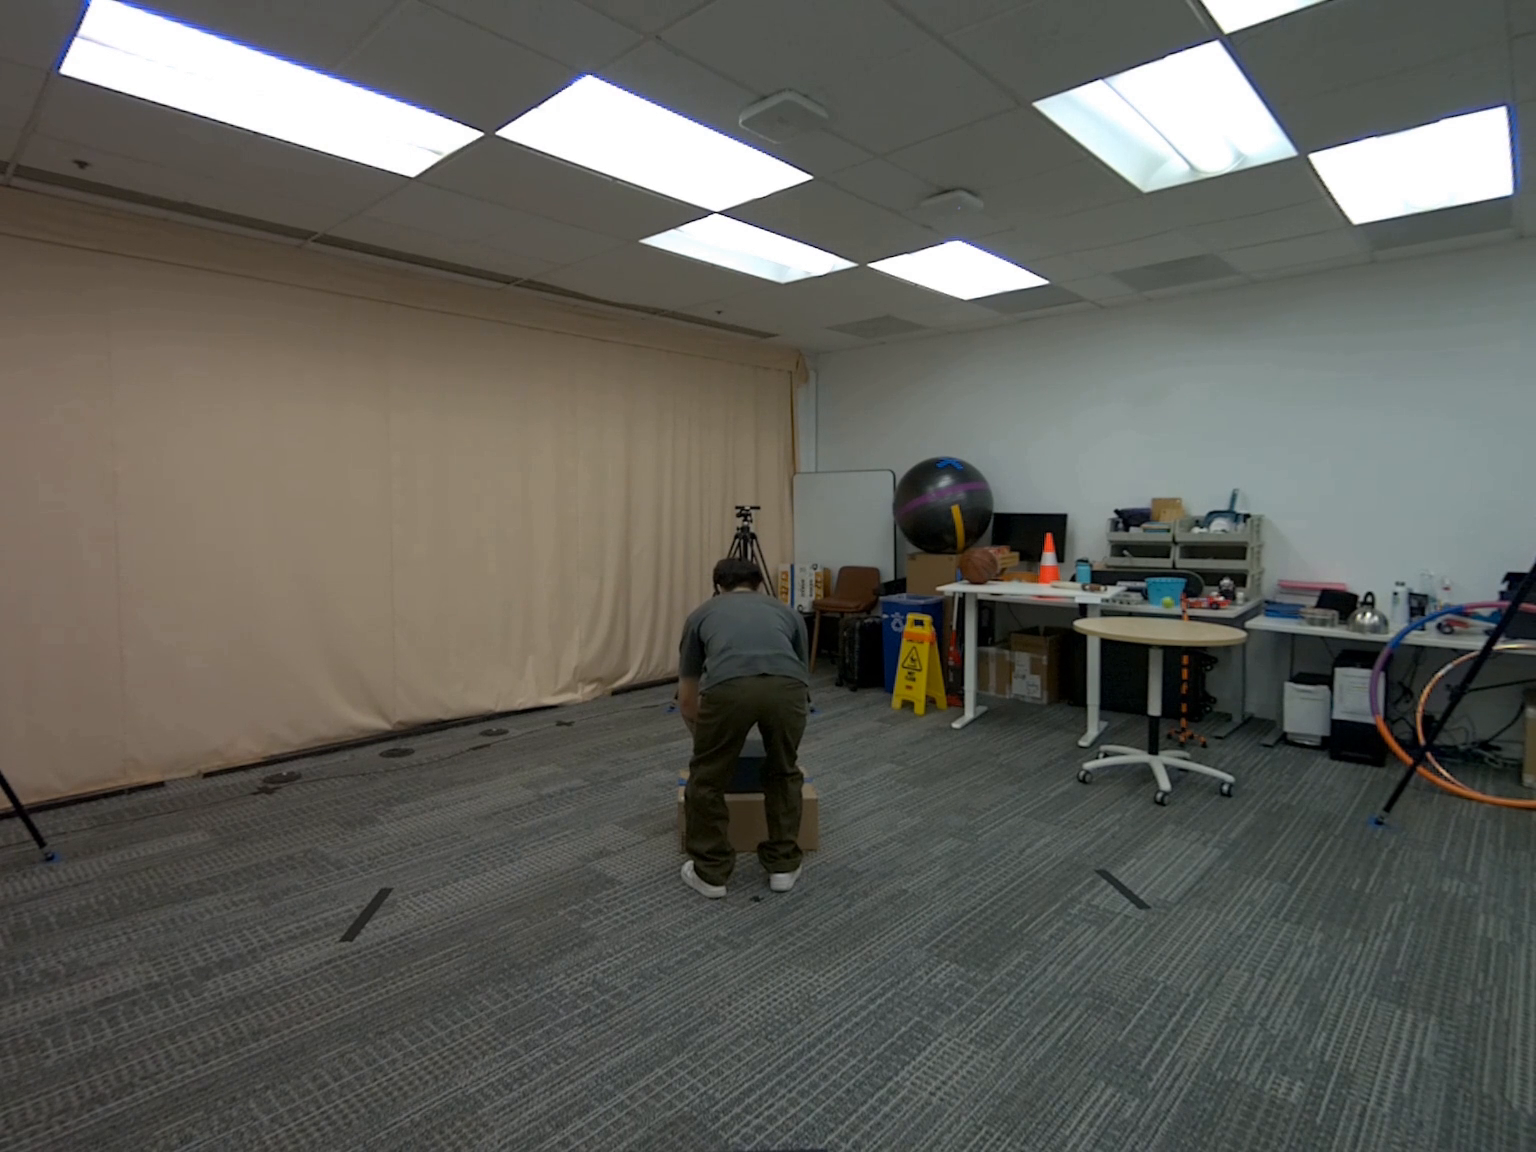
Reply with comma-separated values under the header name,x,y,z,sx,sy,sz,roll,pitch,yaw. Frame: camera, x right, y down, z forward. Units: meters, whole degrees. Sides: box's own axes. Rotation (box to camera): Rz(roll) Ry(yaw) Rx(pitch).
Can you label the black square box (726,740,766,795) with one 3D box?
name,x,y,z,sx,sy,sz,roll,pitch,yaw
black square box,-0.100,0.797,3.550,0.227,0.155,0.218,-1,5,-3
